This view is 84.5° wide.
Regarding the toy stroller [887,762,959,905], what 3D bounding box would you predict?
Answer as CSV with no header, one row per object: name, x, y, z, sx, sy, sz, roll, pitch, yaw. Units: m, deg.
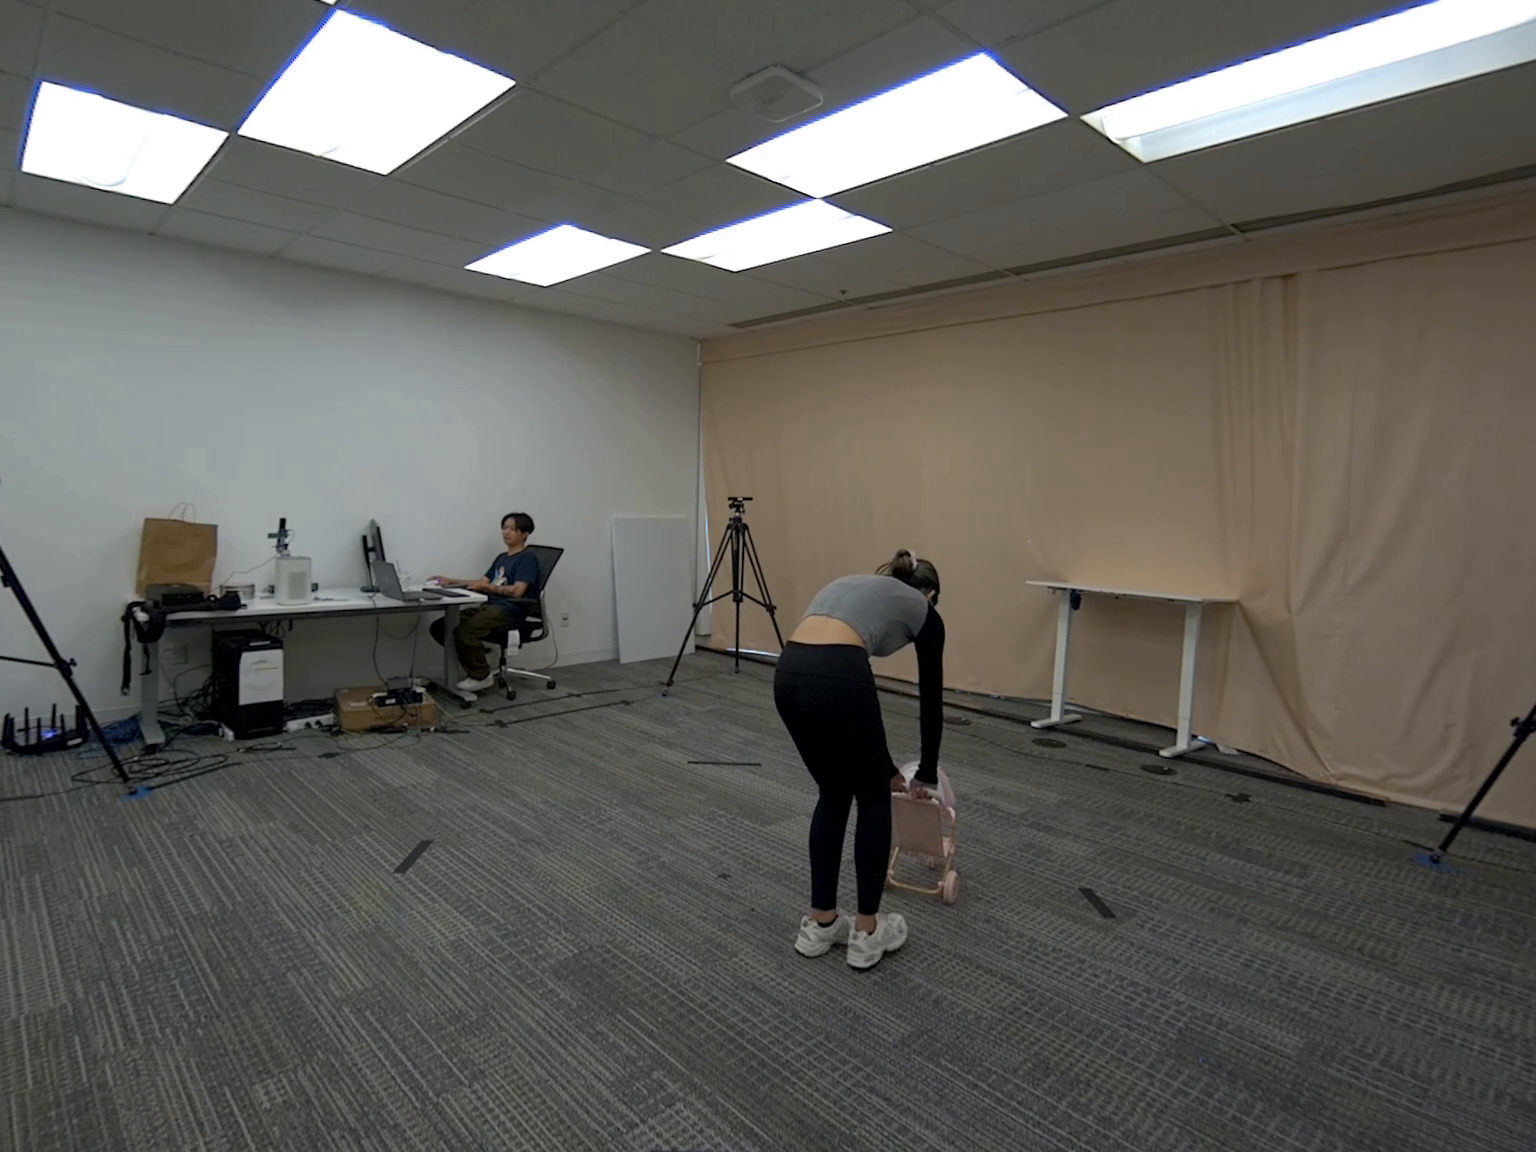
toy stroller,0.552,0.903,3.032,0.287,0.528,0.338,4,19,29
